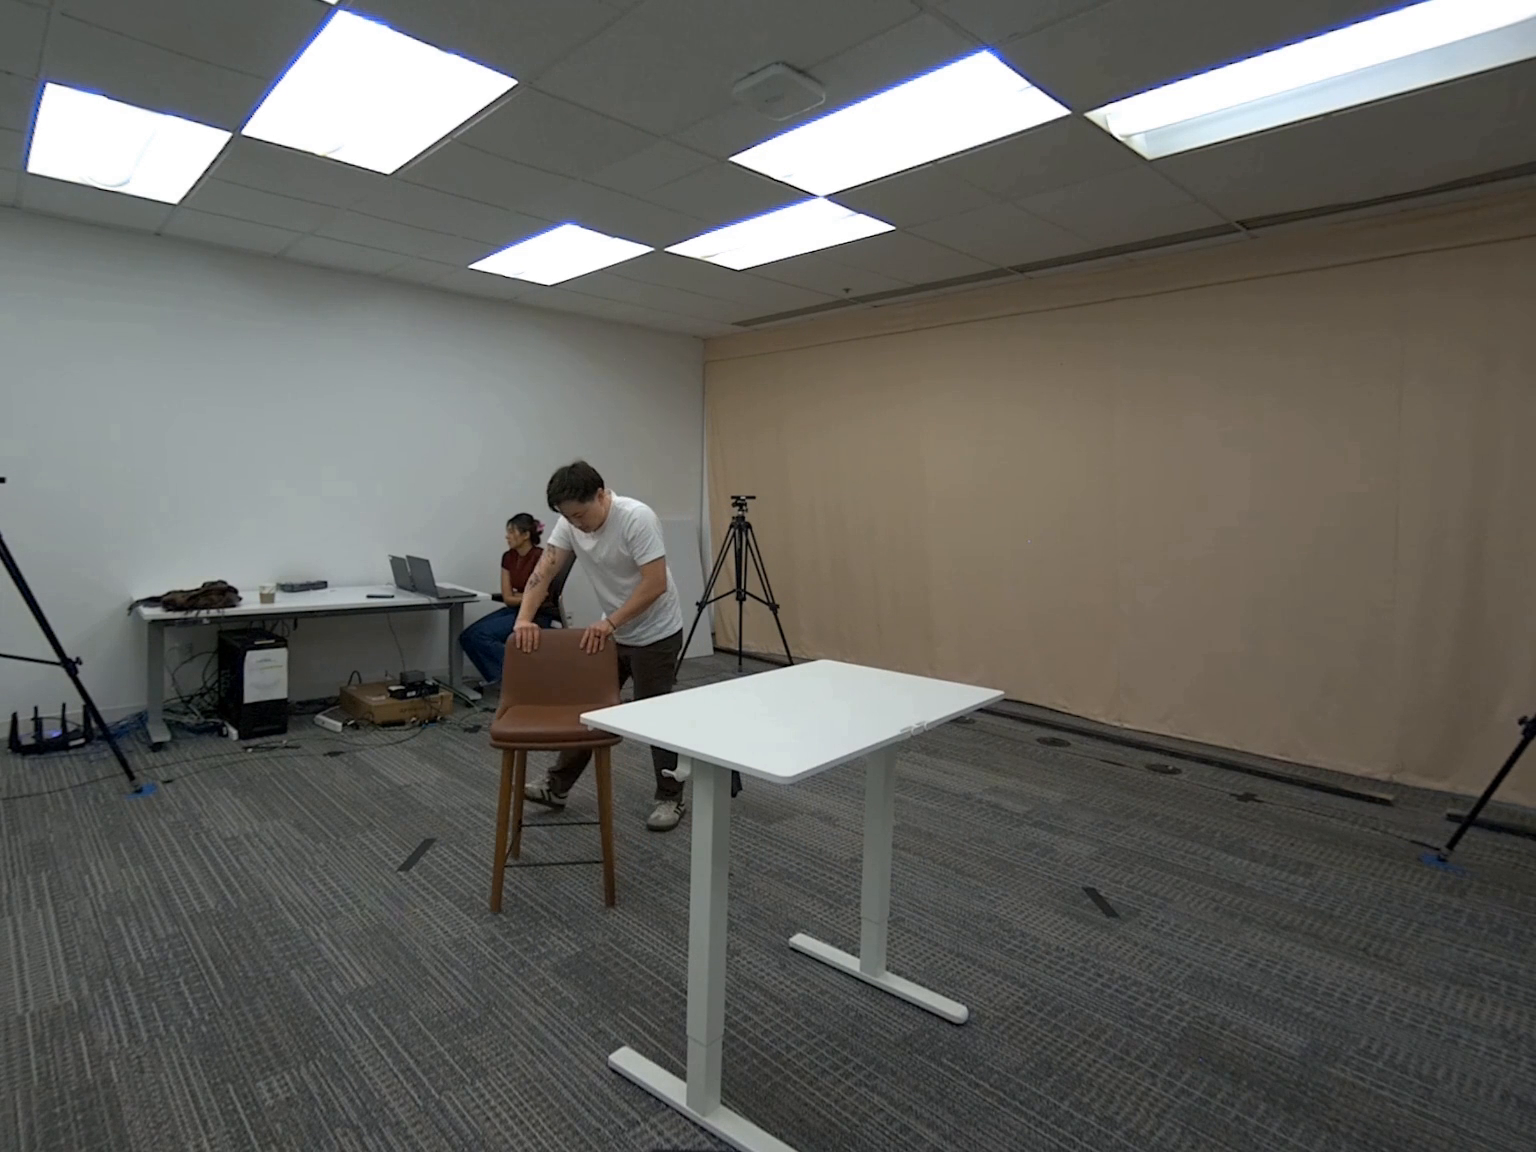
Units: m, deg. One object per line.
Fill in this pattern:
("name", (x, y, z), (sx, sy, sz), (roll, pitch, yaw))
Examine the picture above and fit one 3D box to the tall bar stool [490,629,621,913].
("tall bar stool", (-0.760, 0.660, 3.007), (0.453, 0.889, 0.472), (0, 2, -10))
